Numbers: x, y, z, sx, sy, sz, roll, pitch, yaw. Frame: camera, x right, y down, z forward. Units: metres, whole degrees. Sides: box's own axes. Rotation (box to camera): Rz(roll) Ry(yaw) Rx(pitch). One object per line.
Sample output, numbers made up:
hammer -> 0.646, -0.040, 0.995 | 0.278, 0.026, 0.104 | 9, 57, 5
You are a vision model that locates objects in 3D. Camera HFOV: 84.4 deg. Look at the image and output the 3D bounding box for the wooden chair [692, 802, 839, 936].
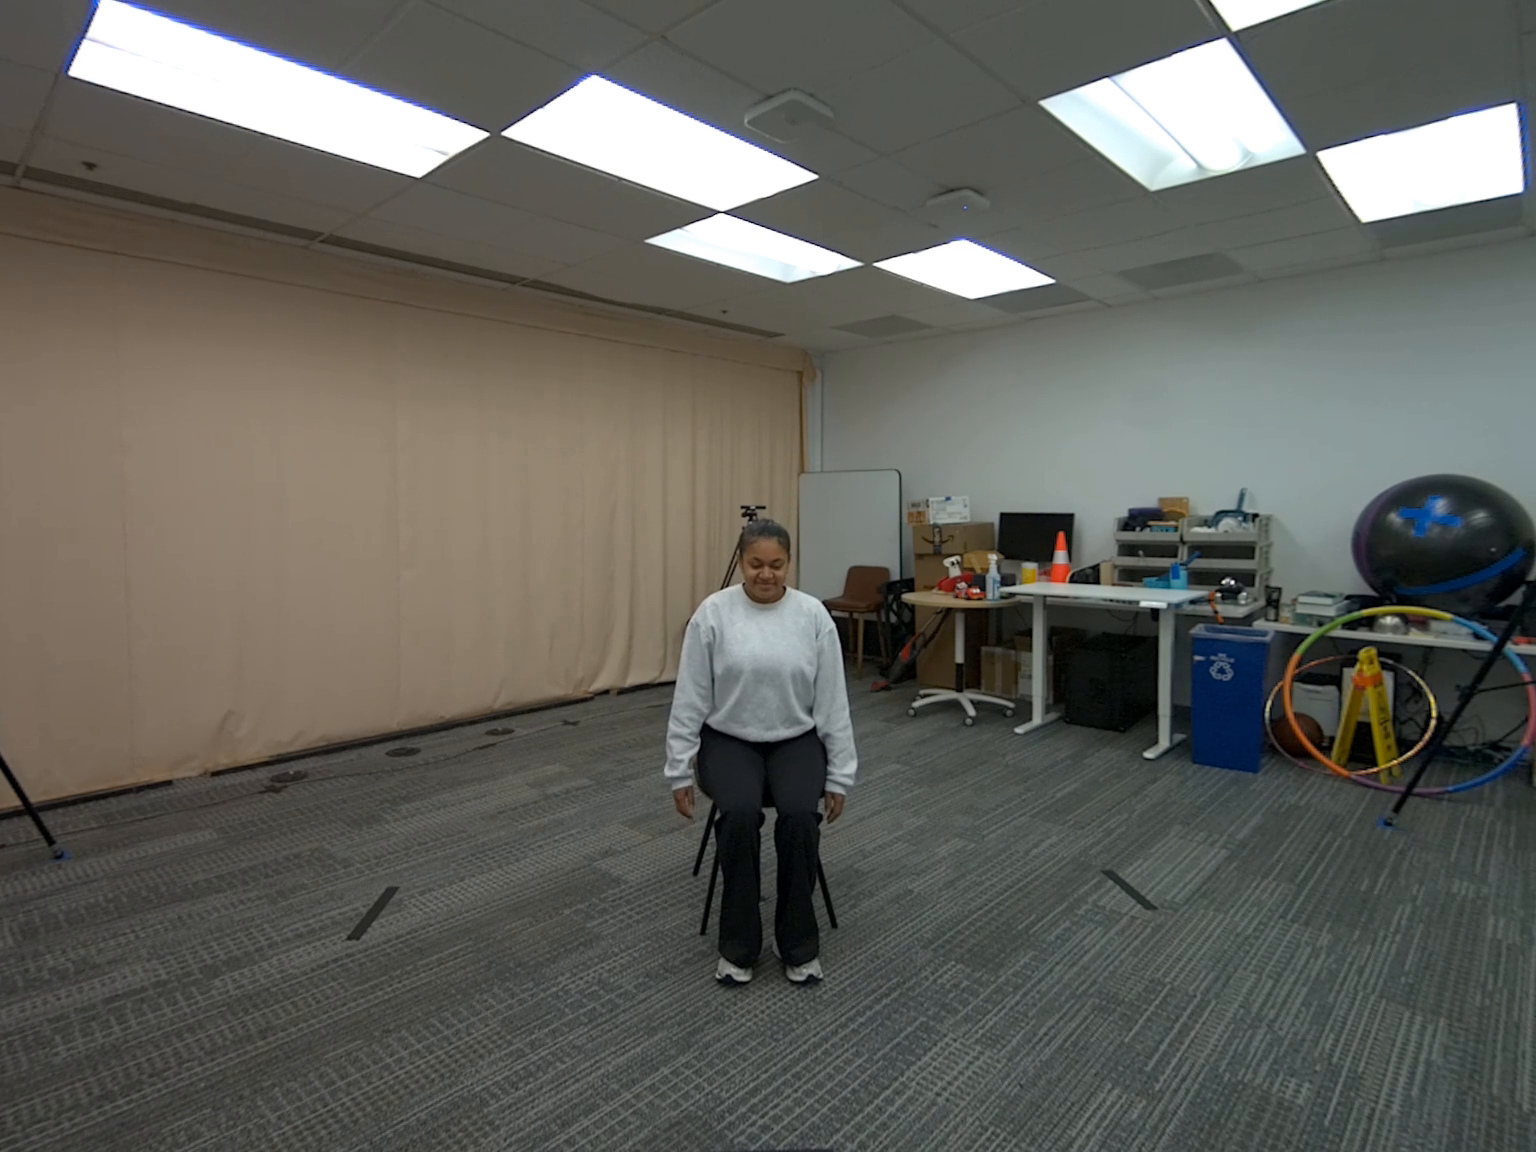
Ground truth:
wooden chair -> -0.025, 0.721, 2.938 | 0.475, 0.877, 0.527 | -1, 0, -8
